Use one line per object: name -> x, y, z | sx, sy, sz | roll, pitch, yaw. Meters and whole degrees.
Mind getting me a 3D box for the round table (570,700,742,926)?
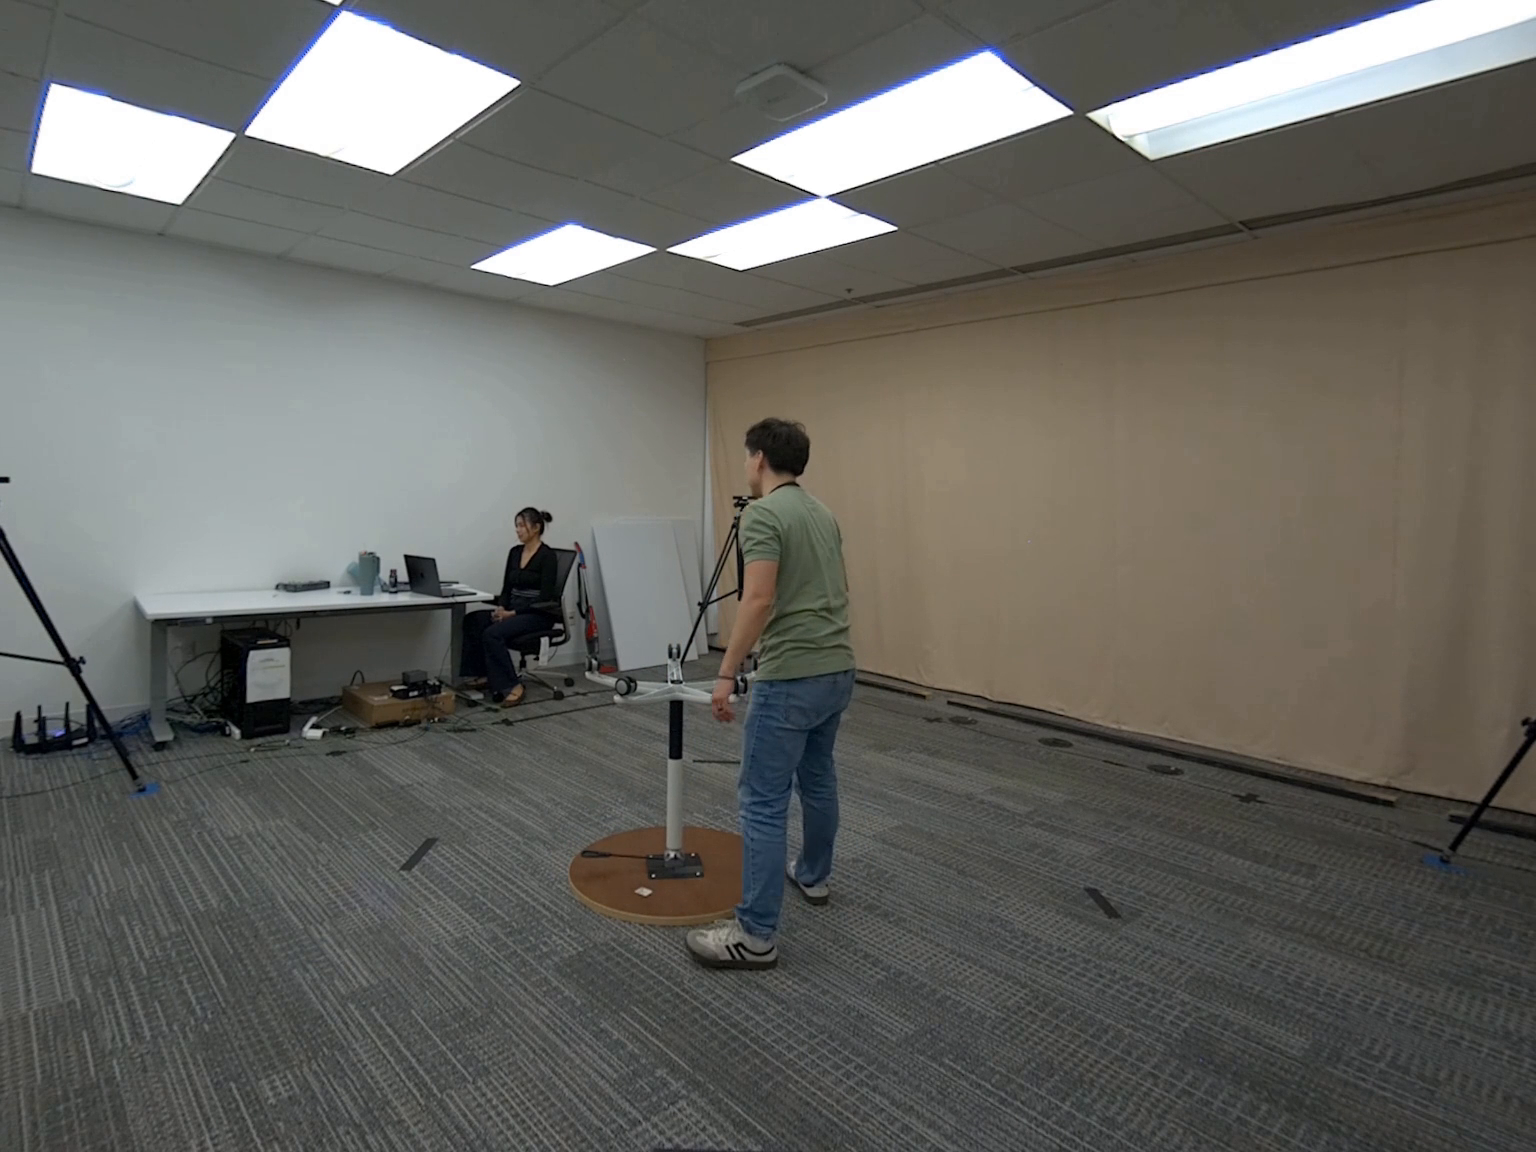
round table -> -0.348, 0.703, 3.088 | 0.763, 0.792, 0.767 | 2, 4, -2
